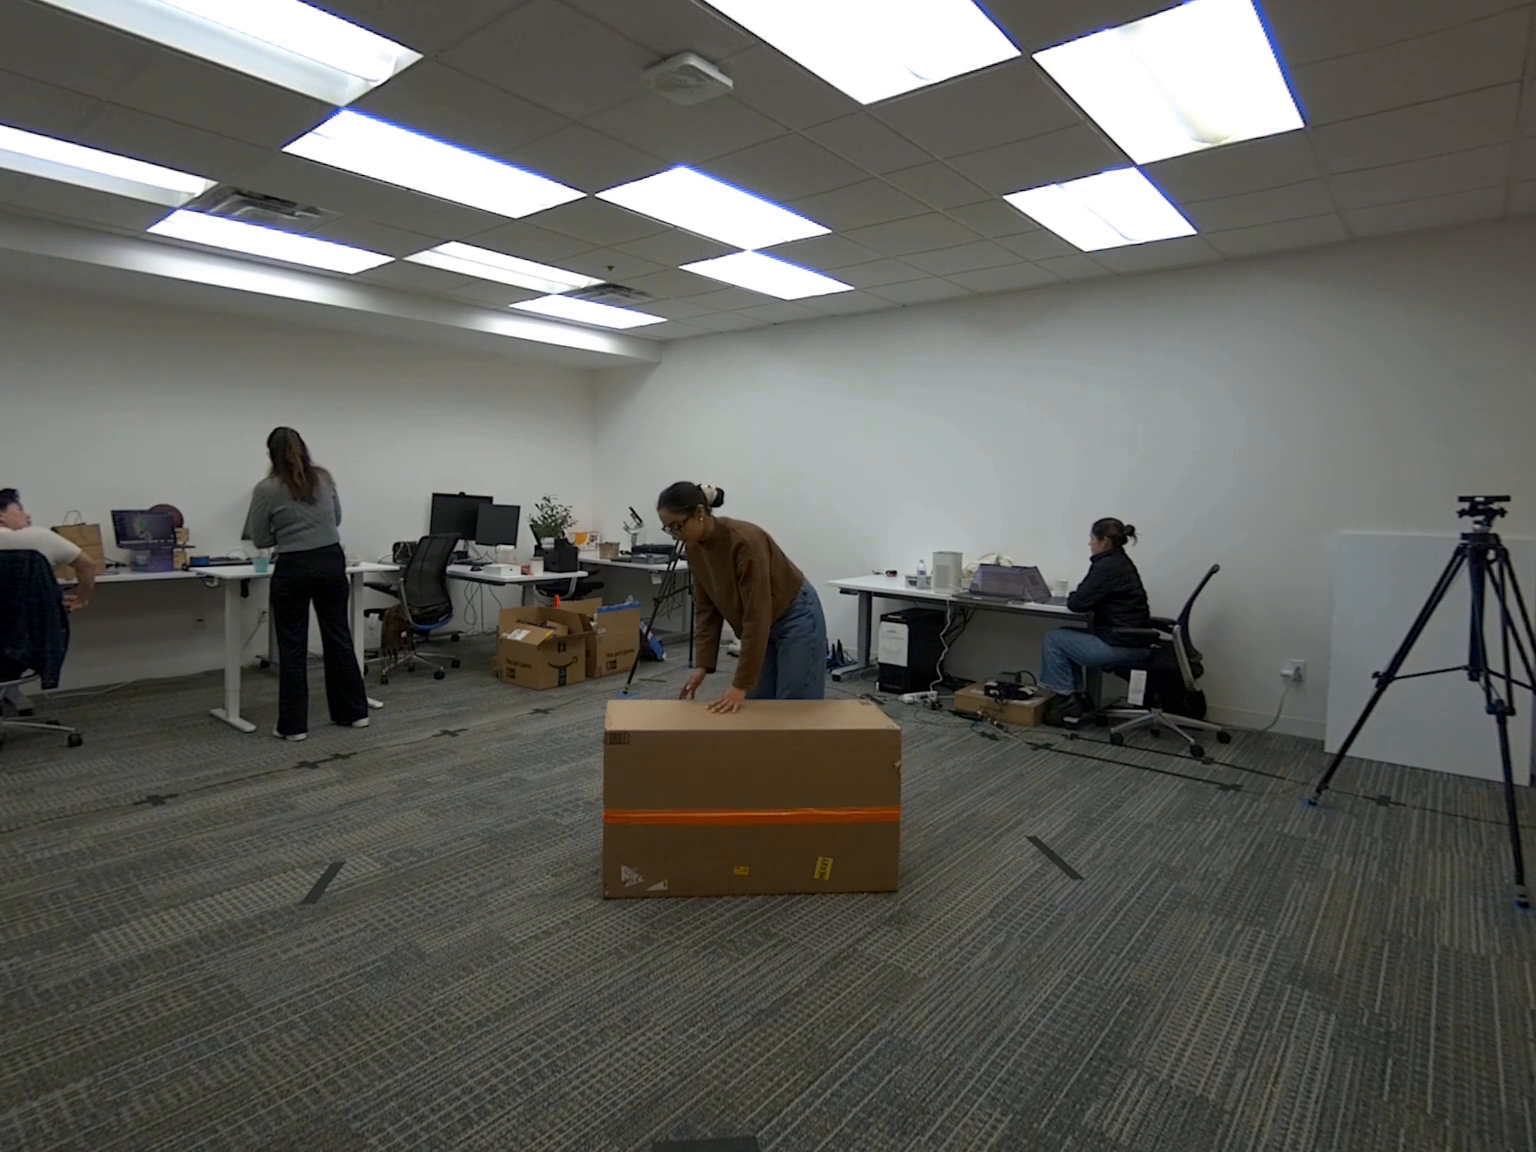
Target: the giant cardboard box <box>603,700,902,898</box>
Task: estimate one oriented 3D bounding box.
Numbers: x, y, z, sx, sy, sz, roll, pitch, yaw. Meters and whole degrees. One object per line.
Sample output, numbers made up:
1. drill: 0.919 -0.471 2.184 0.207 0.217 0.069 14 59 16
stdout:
1. giant cardboard box: -0.087 0.782 3.091 1.021 0.583 0.450 1 2 -5
